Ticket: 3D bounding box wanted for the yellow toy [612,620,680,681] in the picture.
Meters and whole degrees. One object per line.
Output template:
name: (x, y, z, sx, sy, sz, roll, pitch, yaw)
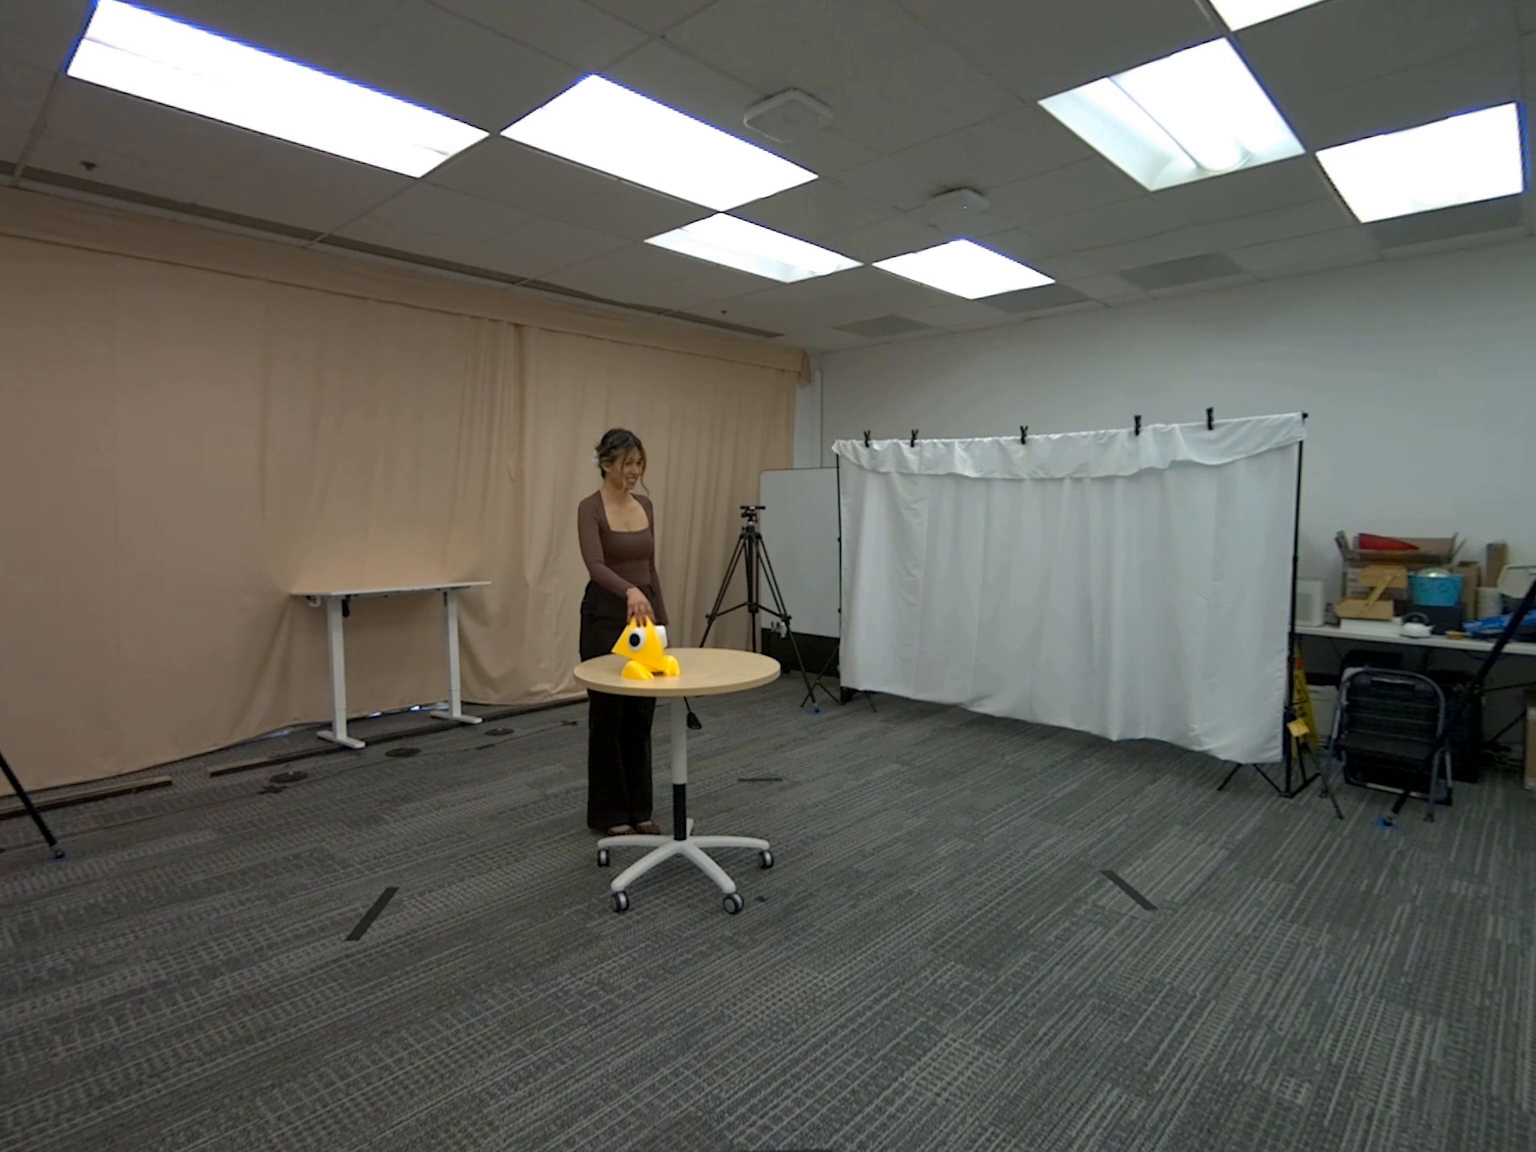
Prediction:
yellow toy: (-0.424, 0.236, 3.004, 0.199, 0.230, 0.199, -4, 6, -37)
